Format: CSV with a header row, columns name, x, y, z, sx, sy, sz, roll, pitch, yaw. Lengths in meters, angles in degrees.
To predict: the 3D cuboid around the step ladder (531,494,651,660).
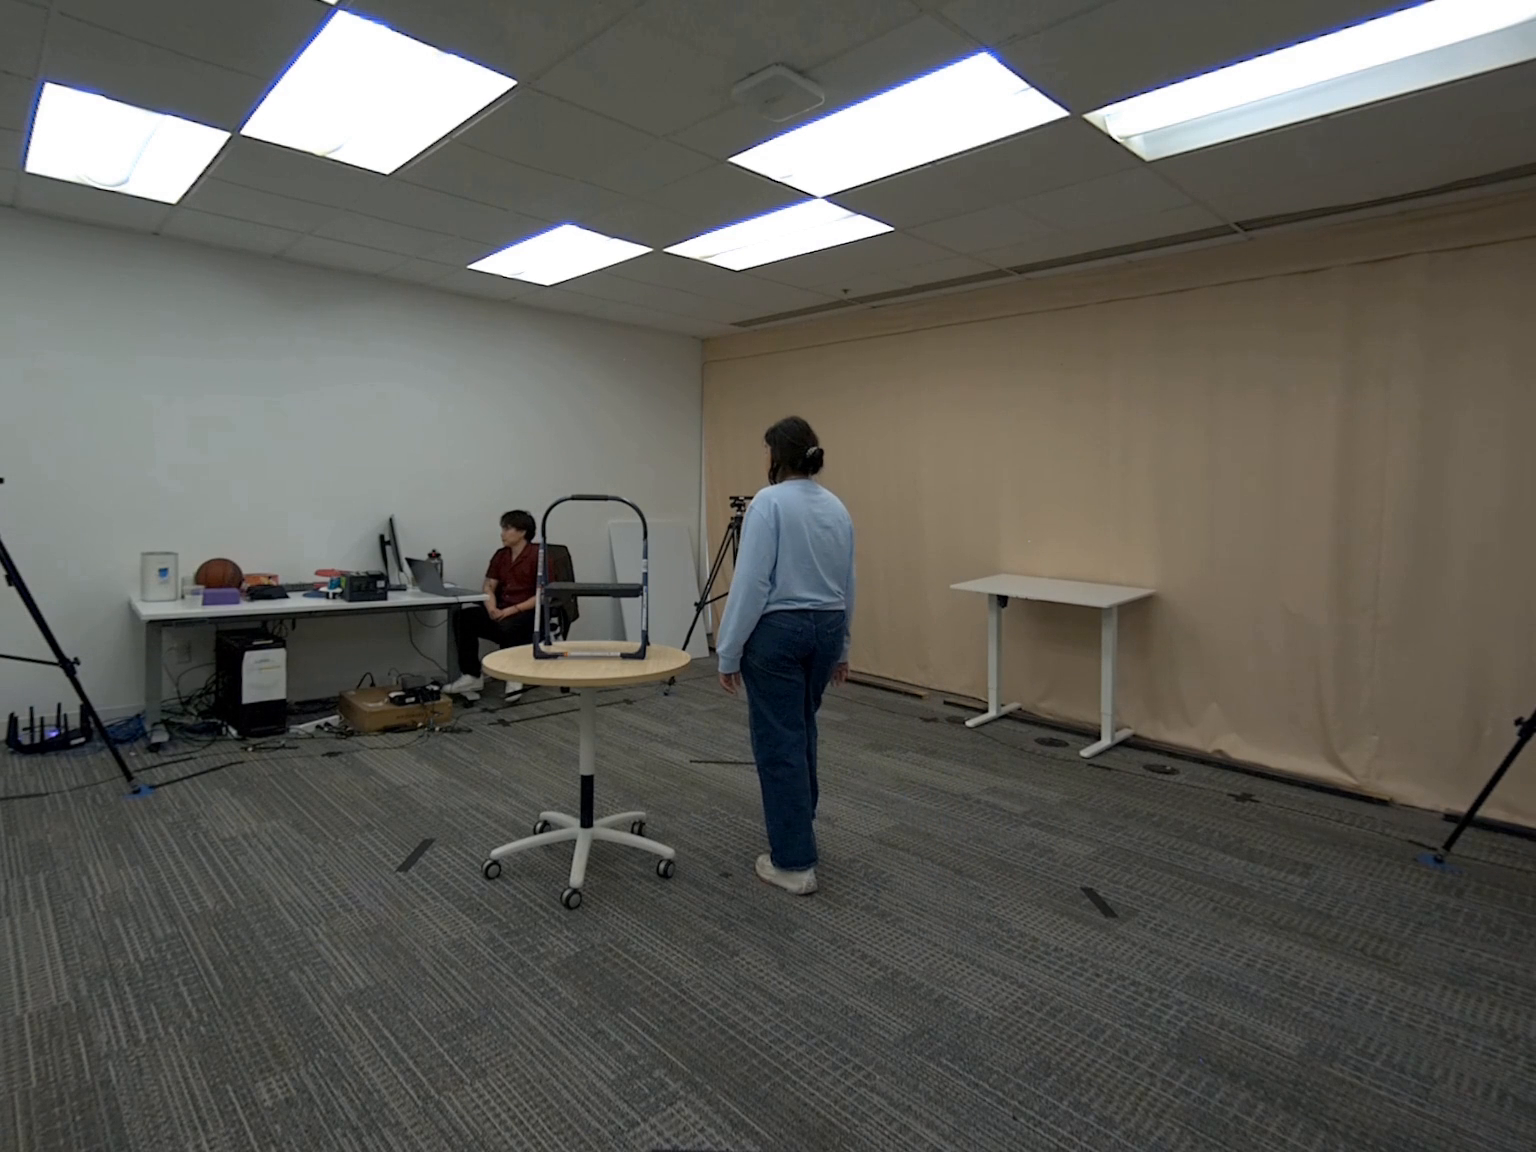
name,x,y,z,sx,sy,sz,roll,pitch,yaw
step ladder,-0.677,-0.009,3.252,0.429,0.605,0.351,1,2,-6
